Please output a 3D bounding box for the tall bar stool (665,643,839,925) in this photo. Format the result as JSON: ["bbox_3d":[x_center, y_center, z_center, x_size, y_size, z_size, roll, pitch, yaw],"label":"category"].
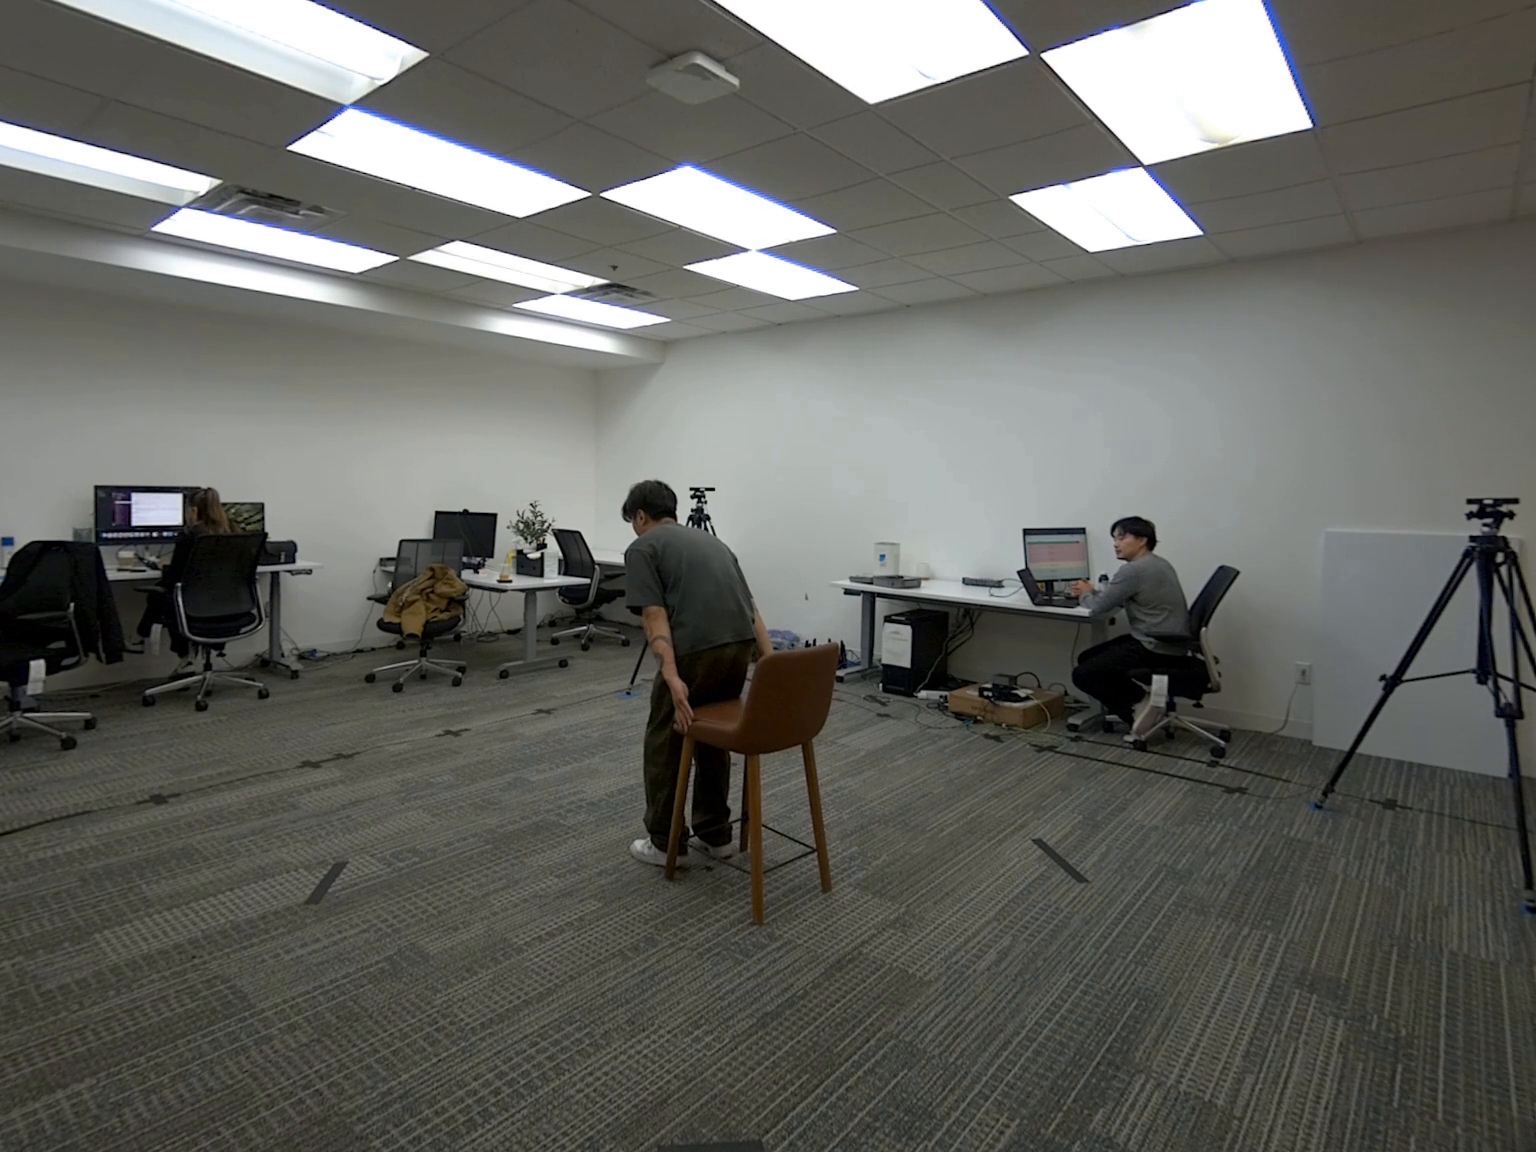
[{"bbox_3d":[-0.055,0.645,2.968,0.484,0.887,0.442,6,5,43],"label":"tall bar stool"}]
